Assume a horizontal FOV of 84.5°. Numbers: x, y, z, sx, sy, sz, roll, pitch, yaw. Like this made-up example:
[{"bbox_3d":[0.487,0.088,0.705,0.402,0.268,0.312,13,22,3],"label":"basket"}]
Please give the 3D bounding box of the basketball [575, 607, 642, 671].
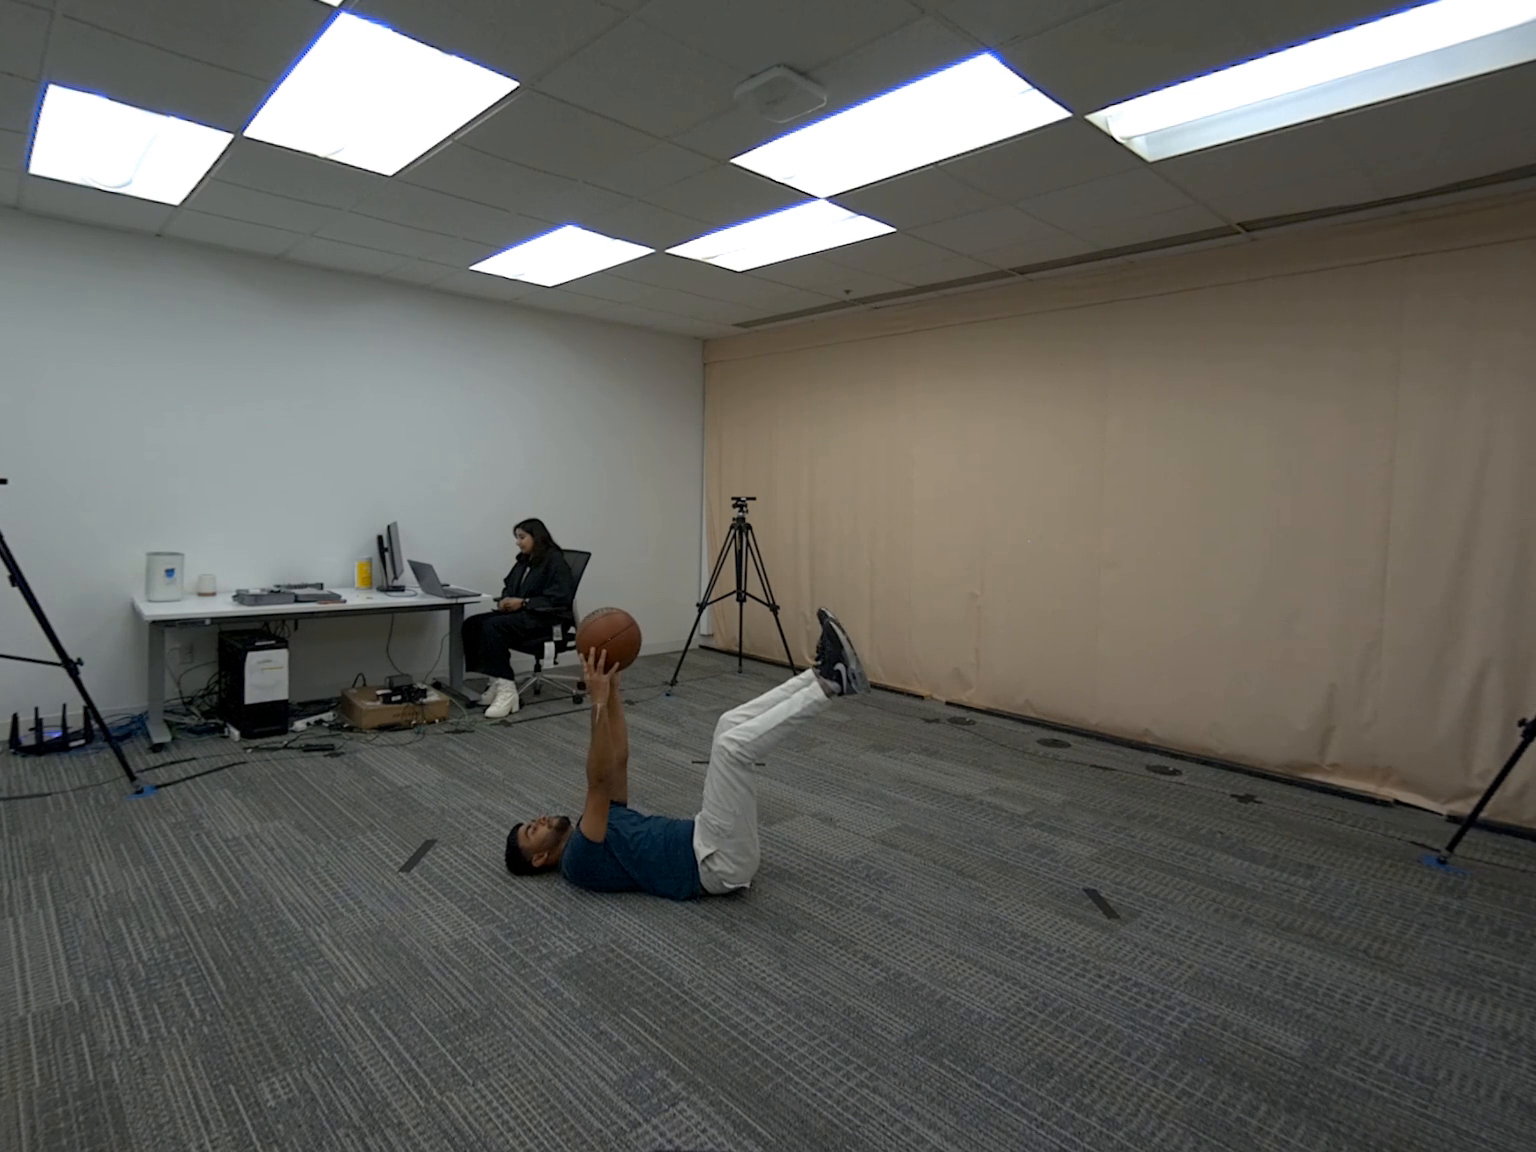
[{"bbox_3d":[-0.581,0.243,3.044,0.236,0.235,0.237,1,4,-1],"label":"basketball"}]
